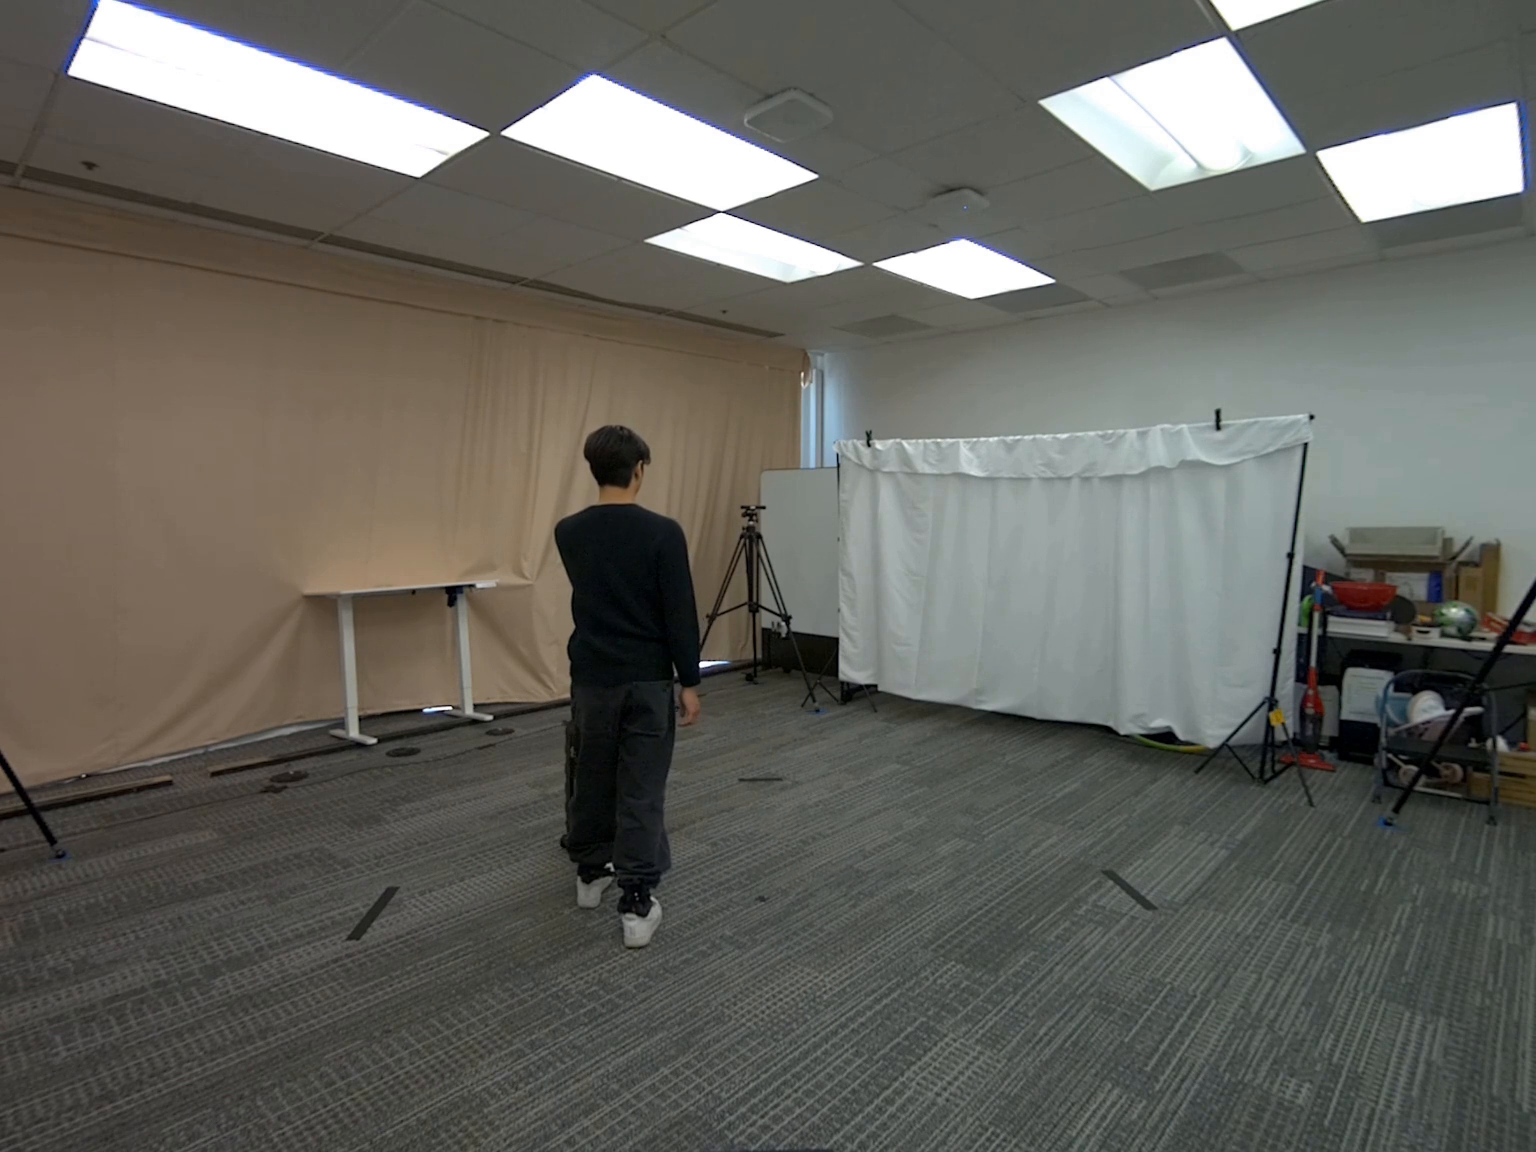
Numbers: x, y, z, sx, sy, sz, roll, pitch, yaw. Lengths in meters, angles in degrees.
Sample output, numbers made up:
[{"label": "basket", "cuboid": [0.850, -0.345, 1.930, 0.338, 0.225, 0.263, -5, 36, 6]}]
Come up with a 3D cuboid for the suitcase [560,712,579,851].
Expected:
[{"label": "suitcase", "cuboid": [-0.644, 0.630, 3.449, 0.373, 0.979, 0.264, 0, 0, -34]}]
